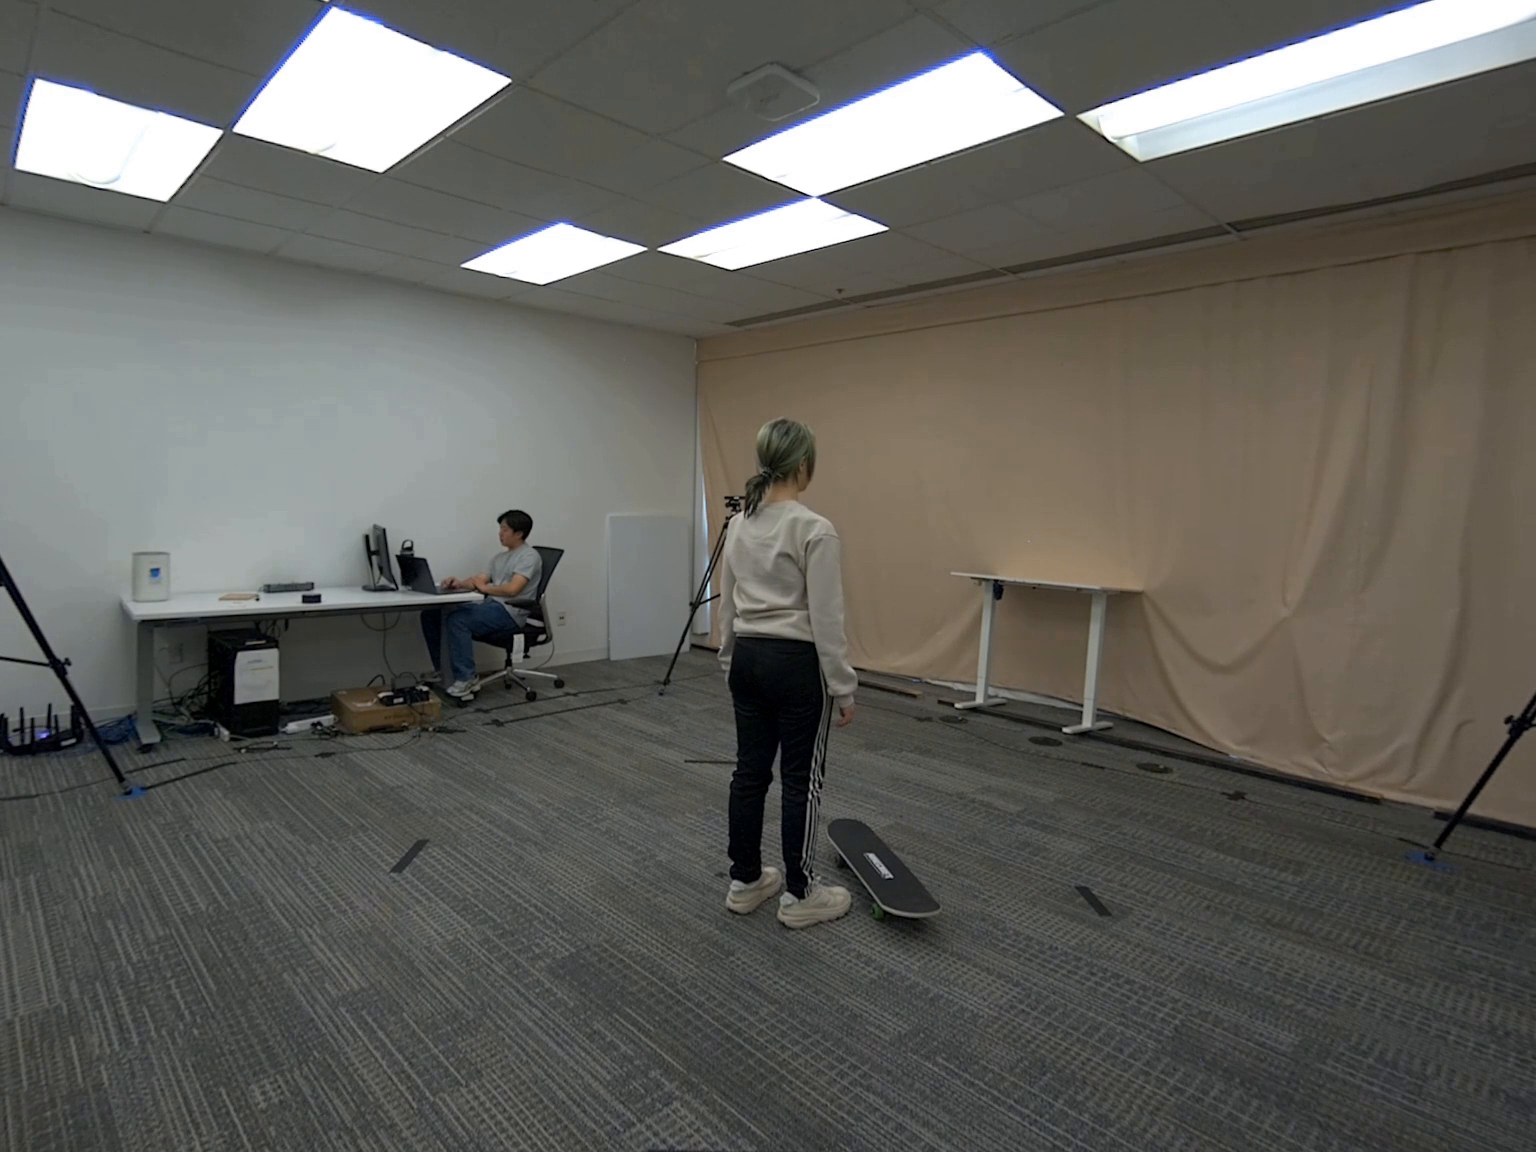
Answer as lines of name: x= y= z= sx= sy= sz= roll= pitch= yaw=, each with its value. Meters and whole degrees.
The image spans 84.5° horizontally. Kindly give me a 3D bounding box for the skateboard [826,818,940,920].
skateboard: x=0.391 y=1.067 z=3.021 sx=0.191 sy=0.110 sz=0.795 roll=1 pitch=5 yaw=-13
